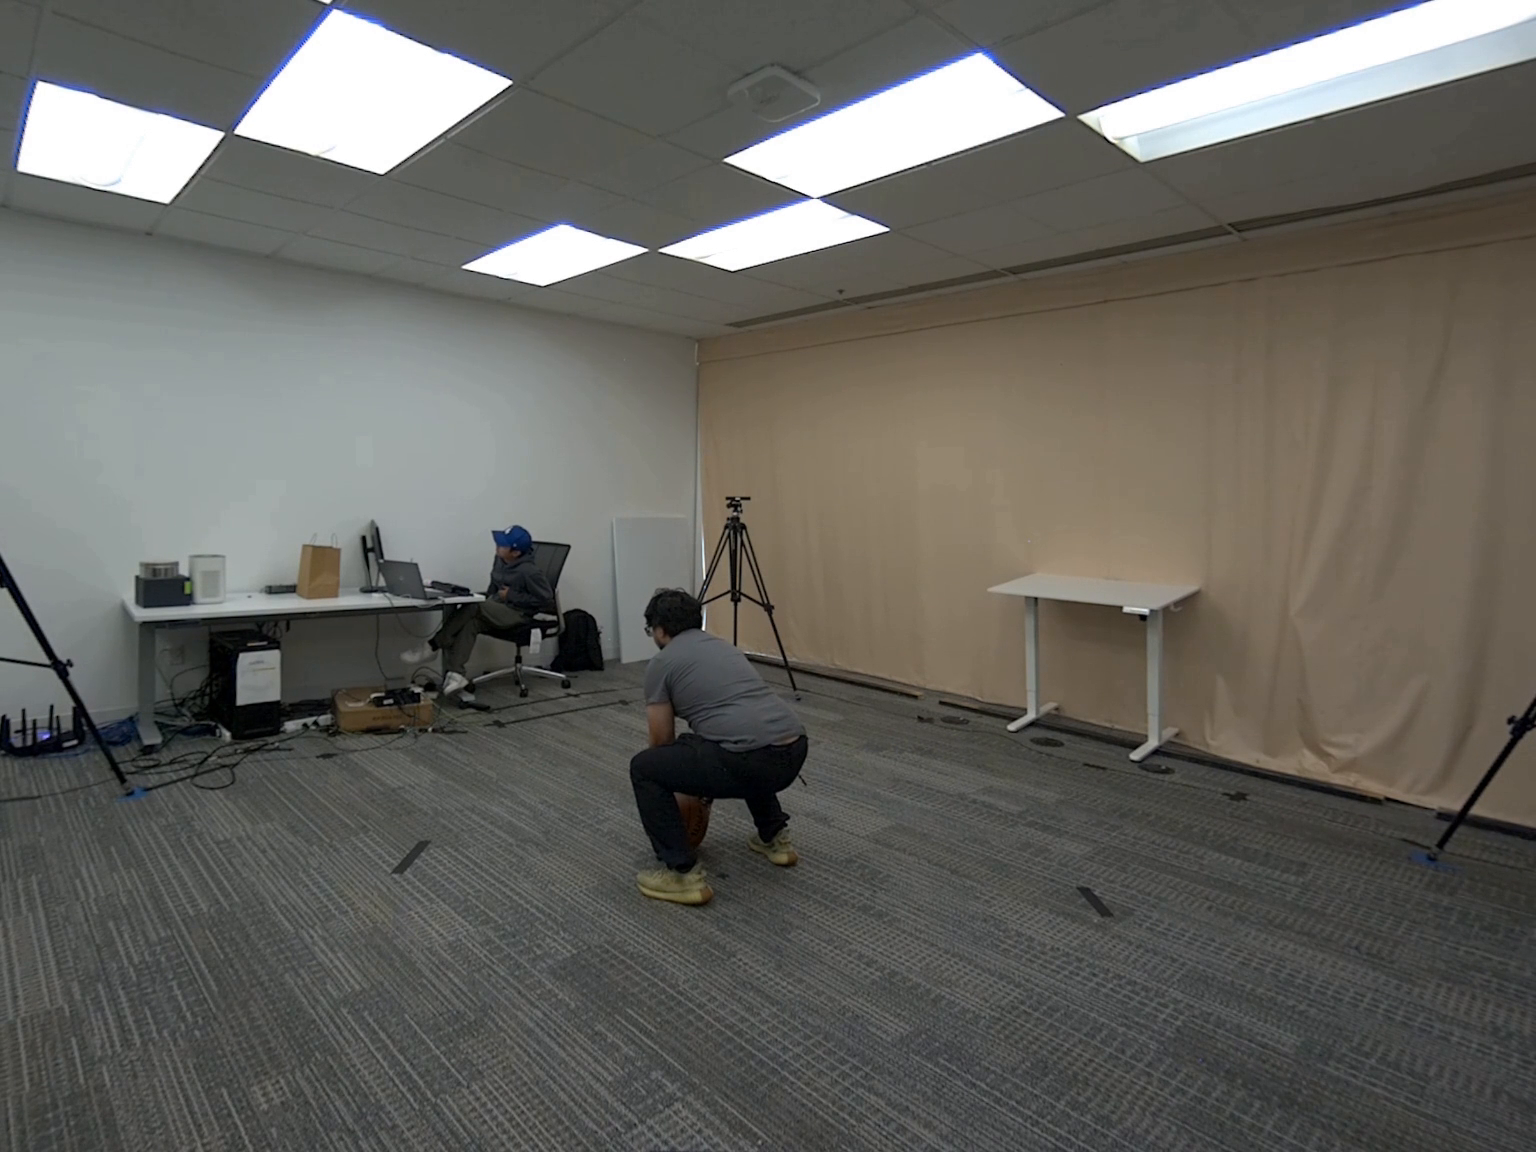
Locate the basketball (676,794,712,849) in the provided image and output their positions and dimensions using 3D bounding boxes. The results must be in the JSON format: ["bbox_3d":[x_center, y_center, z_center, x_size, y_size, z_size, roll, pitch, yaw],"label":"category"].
[{"bbox_3d":[-0.363,0.967,3.304,0.236,0.235,0.237,1,4,-1],"label":"basketball"}]
